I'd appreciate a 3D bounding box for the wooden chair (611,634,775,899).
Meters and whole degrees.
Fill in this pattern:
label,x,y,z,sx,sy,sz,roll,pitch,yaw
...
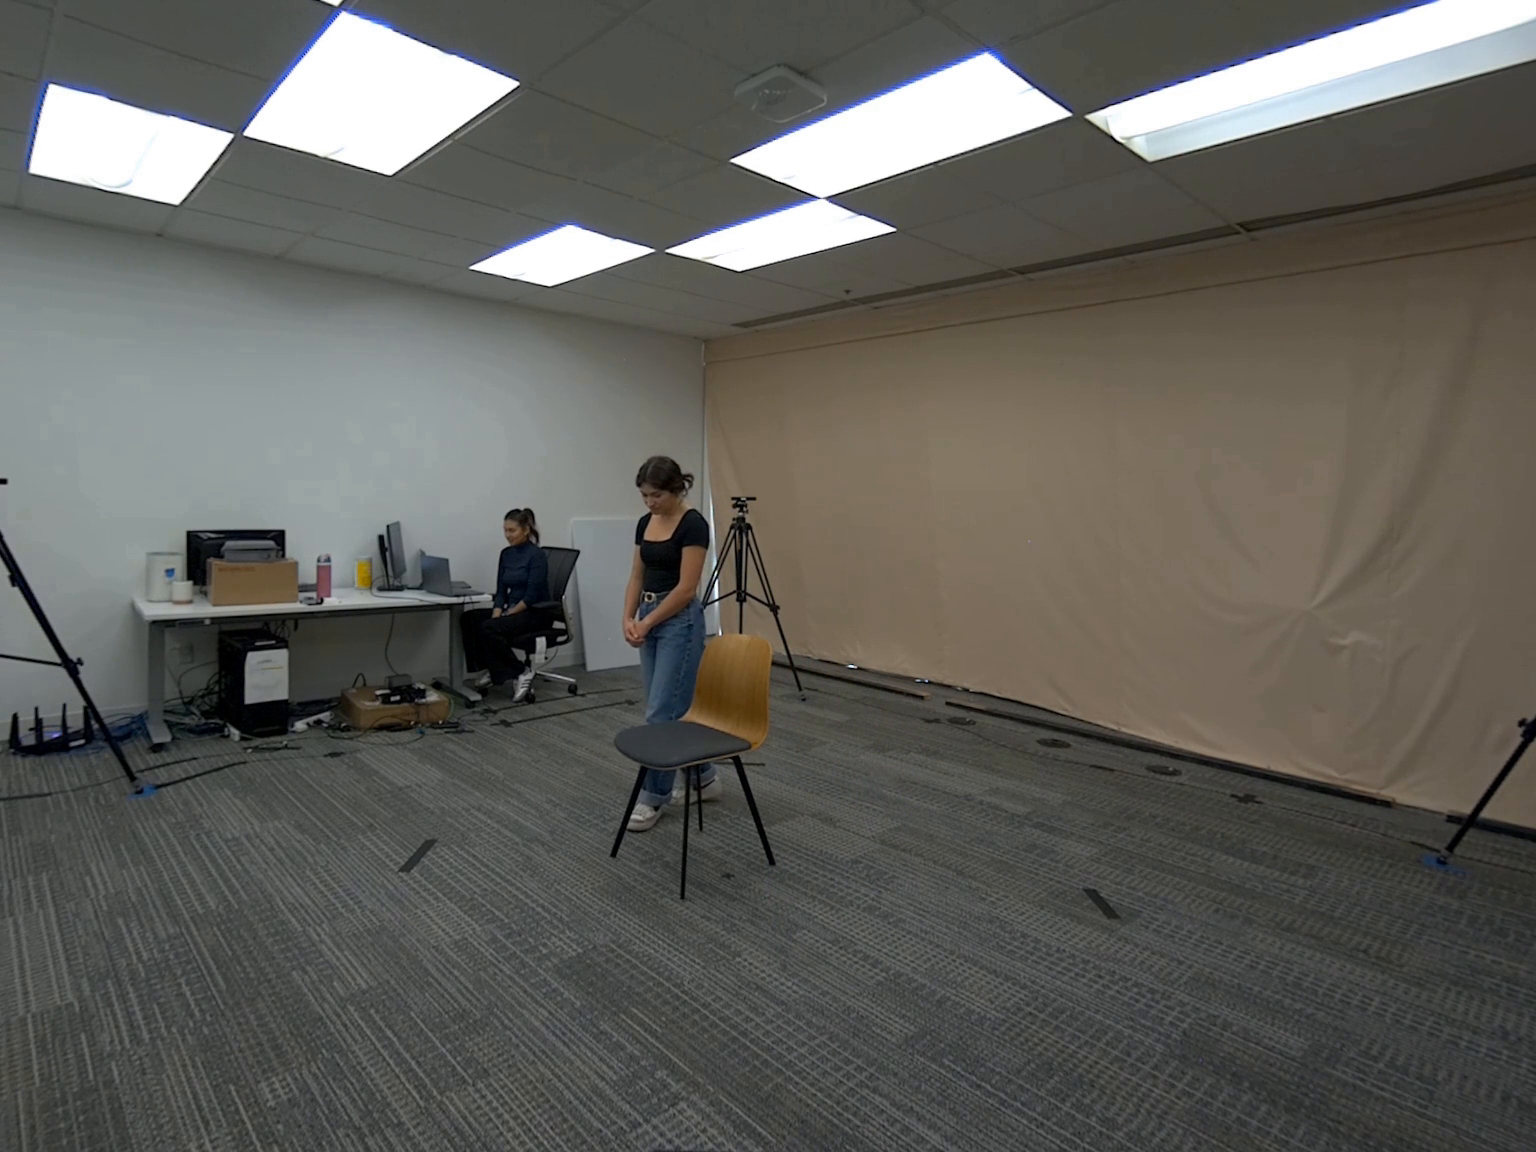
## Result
label,x,y,z,sx,sy,sz,roll,pitch,yaw
wooden chair,-0.287,0.672,3.184,0.510,0.877,0.490,4,0,-43
